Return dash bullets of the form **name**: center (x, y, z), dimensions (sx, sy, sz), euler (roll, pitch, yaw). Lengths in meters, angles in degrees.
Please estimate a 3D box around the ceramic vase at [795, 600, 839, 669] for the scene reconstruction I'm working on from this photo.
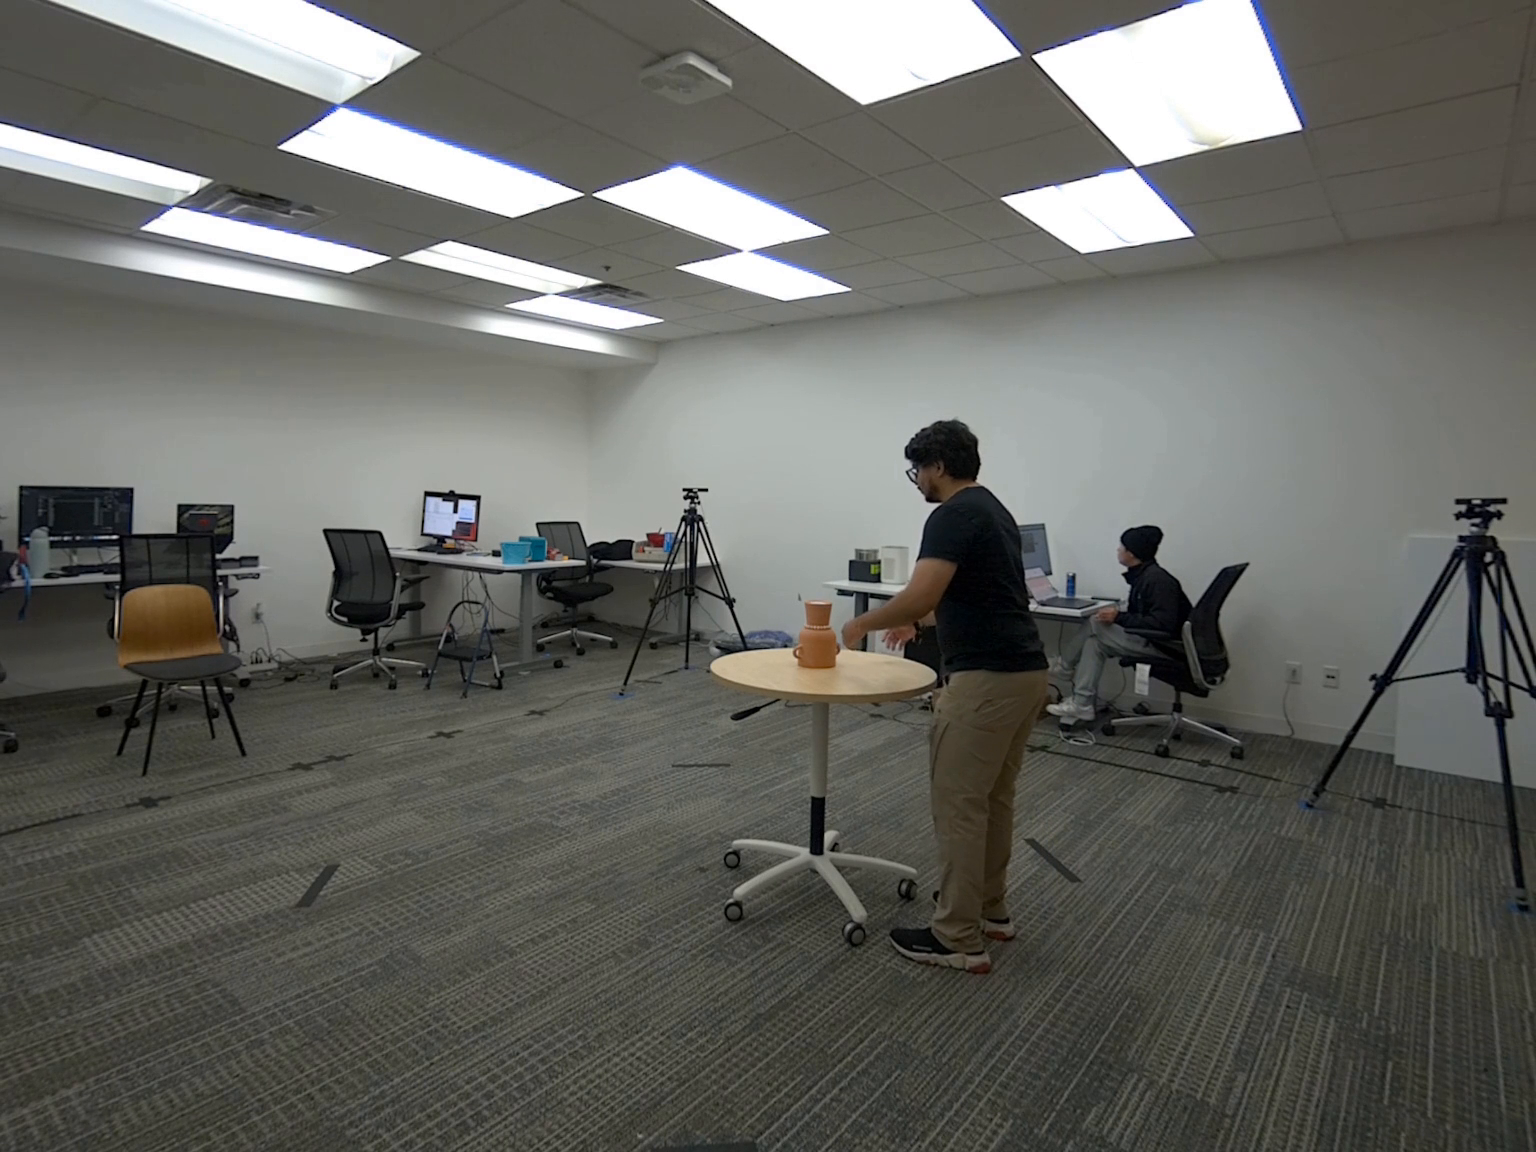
- **ceramic vase**: center (0.169, 0.200, 2.970), dimensions (0.138, 0.219, 0.156), euler (3, 4, 20)
